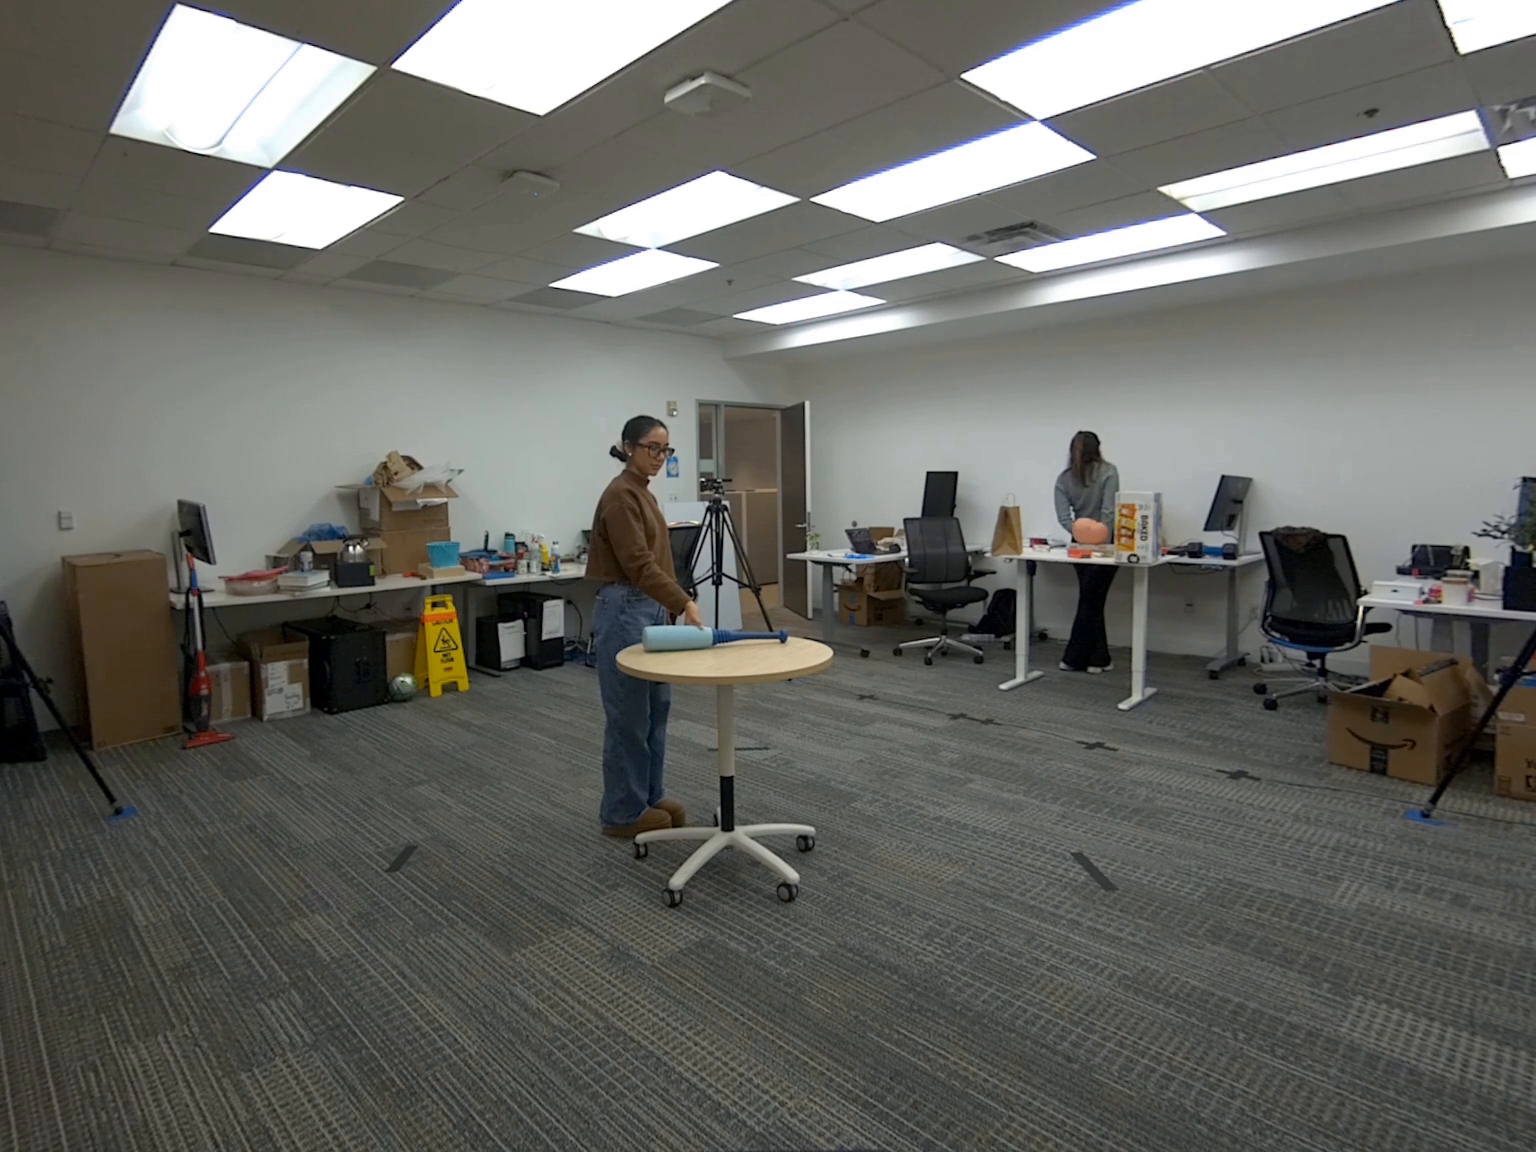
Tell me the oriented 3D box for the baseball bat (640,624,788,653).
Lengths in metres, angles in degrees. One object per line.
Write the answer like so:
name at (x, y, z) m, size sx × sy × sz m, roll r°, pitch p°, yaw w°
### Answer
baseball bat at (-0.188, 0.225, 3.135) m, size 0.535 × 0.089 × 0.091 m, roll 0°, pitch 4°, yaw -16°
